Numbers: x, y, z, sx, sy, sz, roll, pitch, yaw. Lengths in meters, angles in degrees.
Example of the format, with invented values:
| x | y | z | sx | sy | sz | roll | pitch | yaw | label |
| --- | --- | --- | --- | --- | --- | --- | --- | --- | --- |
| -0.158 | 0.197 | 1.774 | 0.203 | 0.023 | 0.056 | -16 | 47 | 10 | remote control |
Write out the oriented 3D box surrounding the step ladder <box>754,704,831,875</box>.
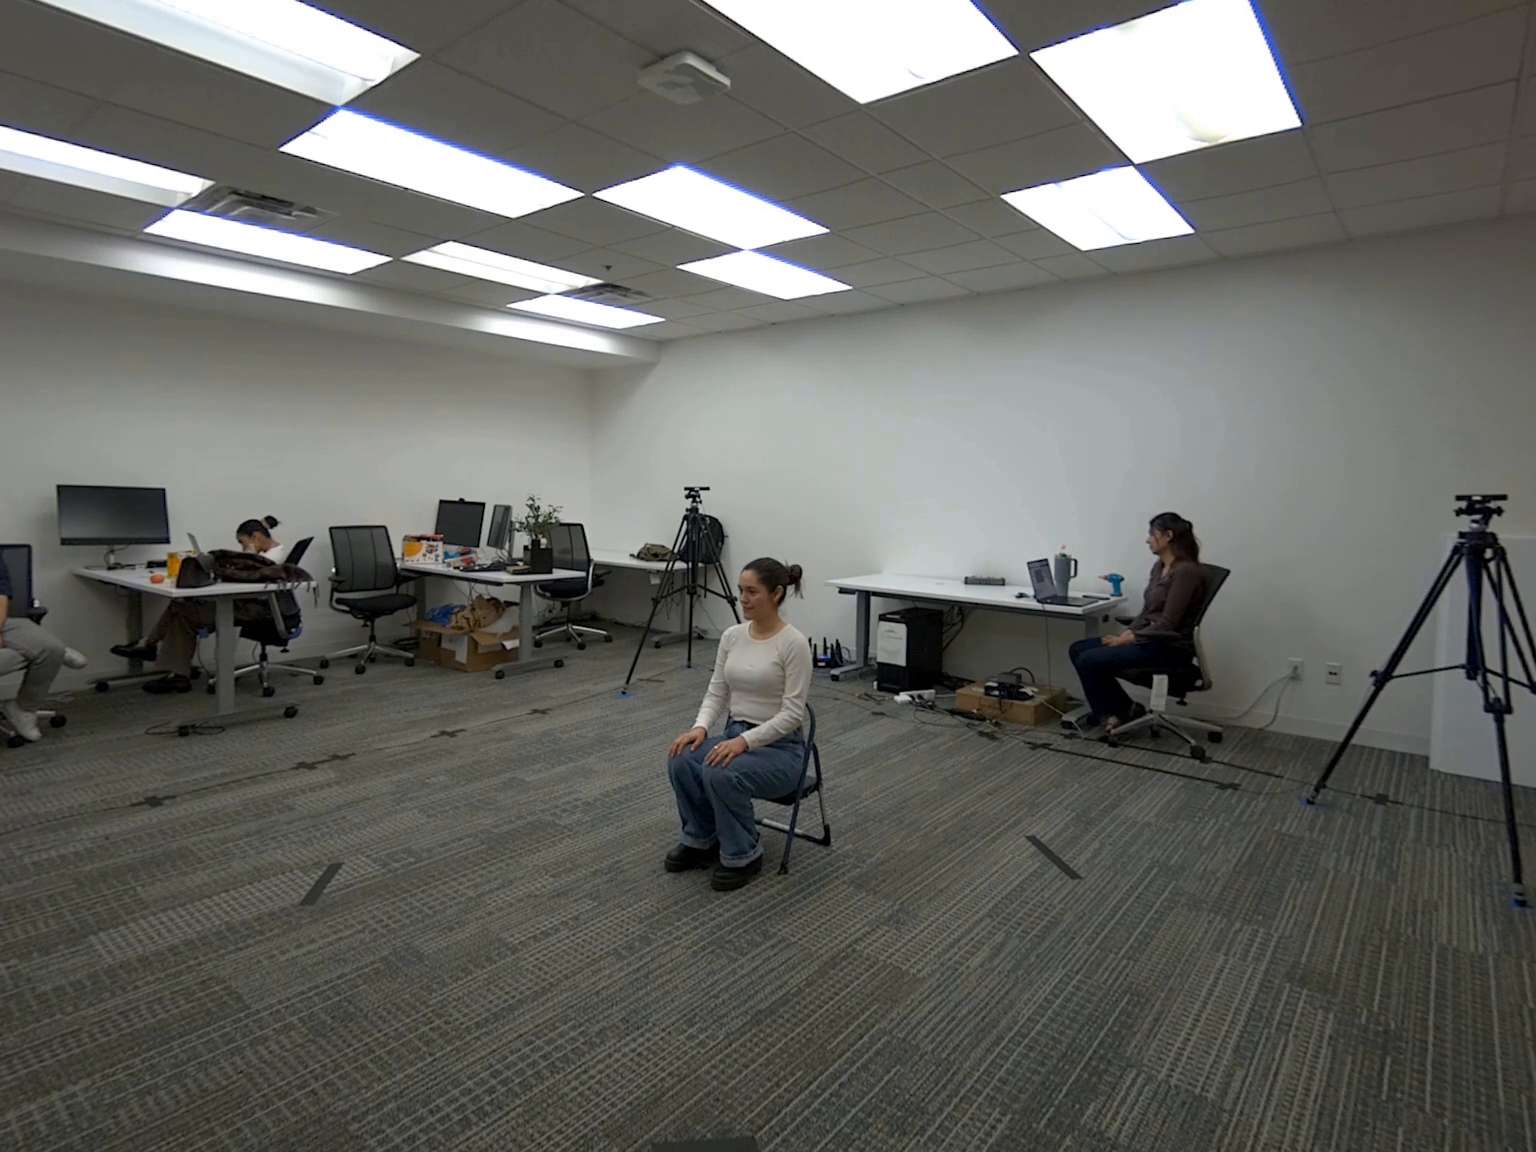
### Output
| x | y | z | sx | sy | sz | roll | pitch | yaw | label |
| --- | --- | --- | --- | --- | --- | --- | --- | --- | --- |
| -0.014 | 0.742 | 3.317 | 0.445 | 0.604 | 0.339 | 4 | 4 | 37 | step ladder |
